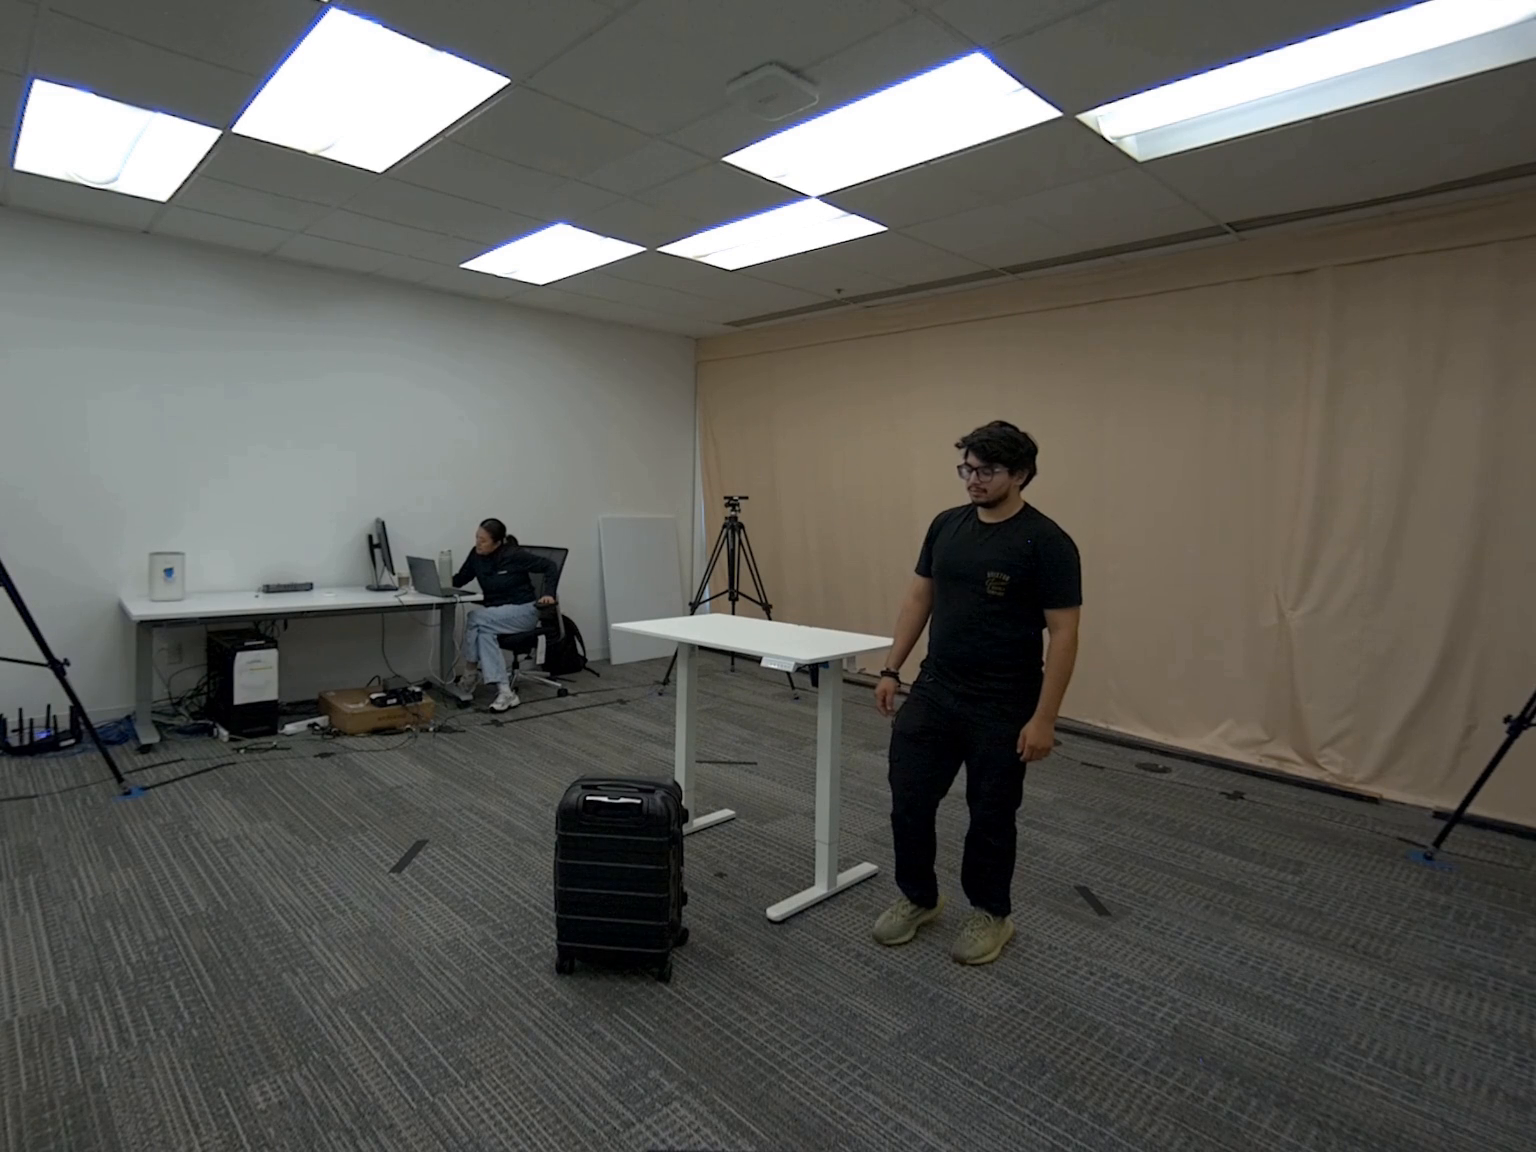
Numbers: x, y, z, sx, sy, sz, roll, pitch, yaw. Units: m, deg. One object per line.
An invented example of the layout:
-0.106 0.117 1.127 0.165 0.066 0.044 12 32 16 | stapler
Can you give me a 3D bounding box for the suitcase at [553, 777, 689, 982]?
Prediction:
-0.442 0.879 2.503 0.377 0.547 0.248 0 6 4 | suitcase
